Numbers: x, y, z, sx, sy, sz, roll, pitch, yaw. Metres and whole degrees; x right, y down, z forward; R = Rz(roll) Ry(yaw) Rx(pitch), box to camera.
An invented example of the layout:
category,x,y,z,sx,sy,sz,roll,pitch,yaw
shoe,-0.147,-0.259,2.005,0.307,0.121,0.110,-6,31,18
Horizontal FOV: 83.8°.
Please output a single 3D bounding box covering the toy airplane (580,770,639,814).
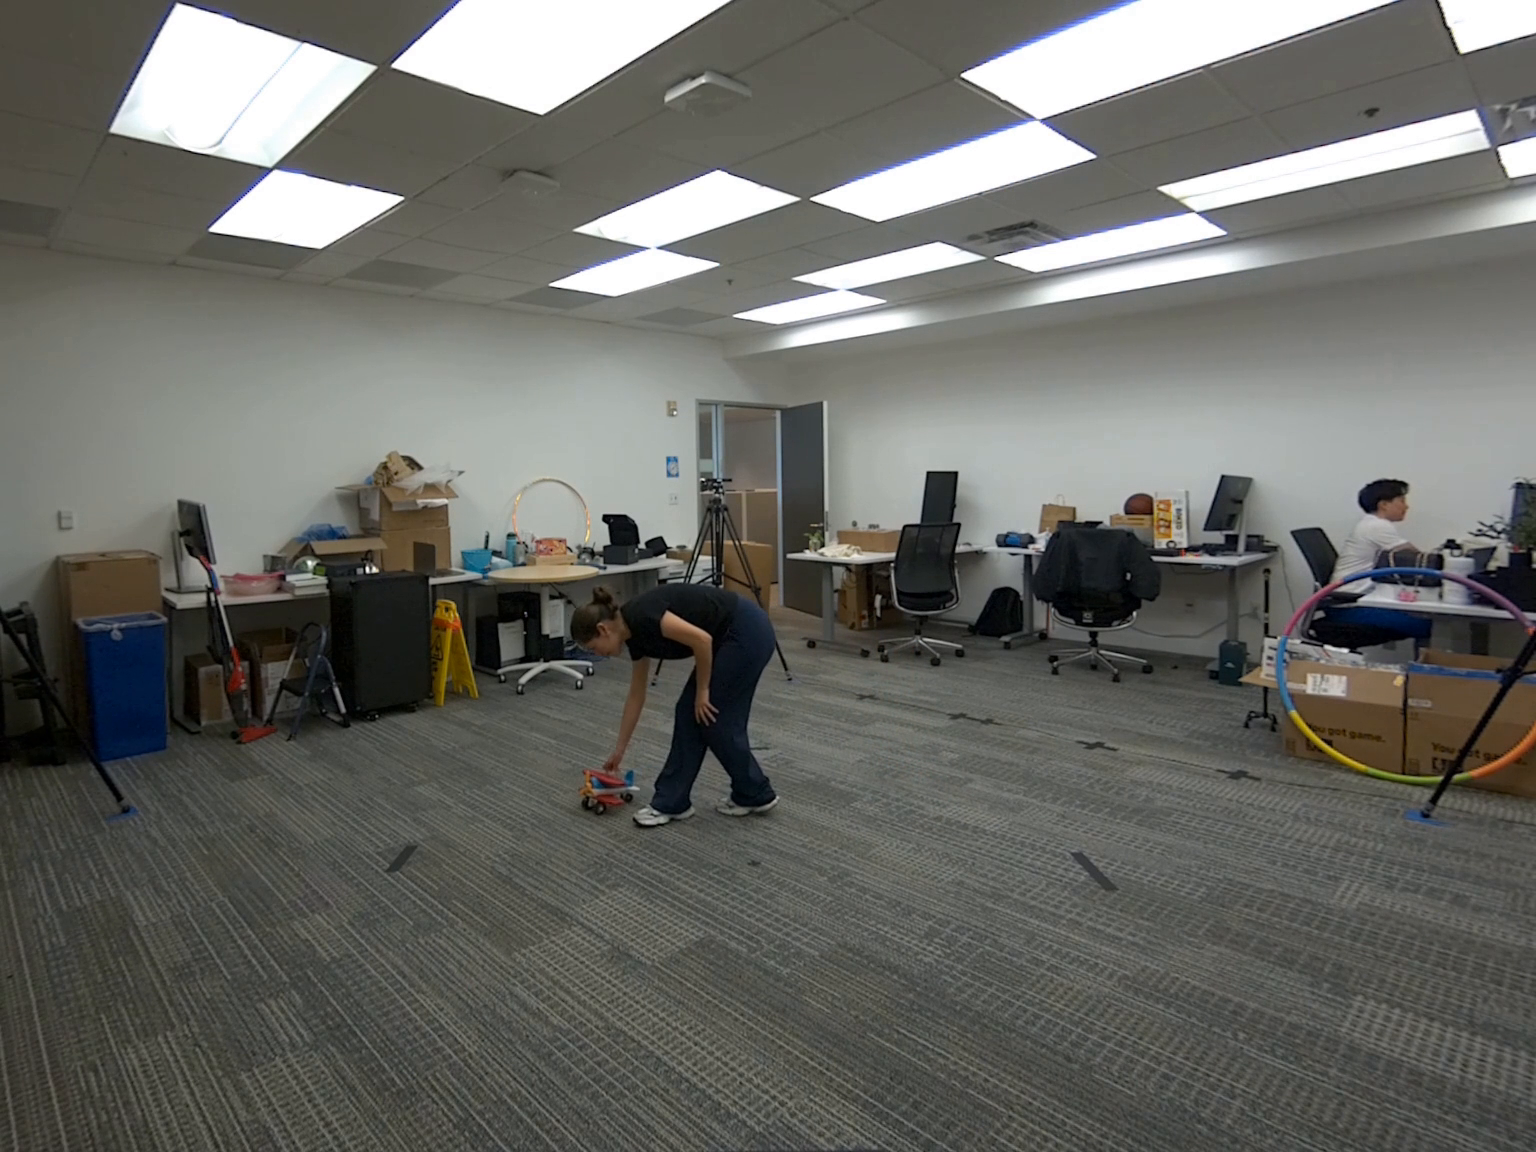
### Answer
category,x,y,z,sx,sy,sz,roll,pitch,yaw
toy airplane,-0.696,0.915,3.705,0.255,0.156,0.257,1,6,15
